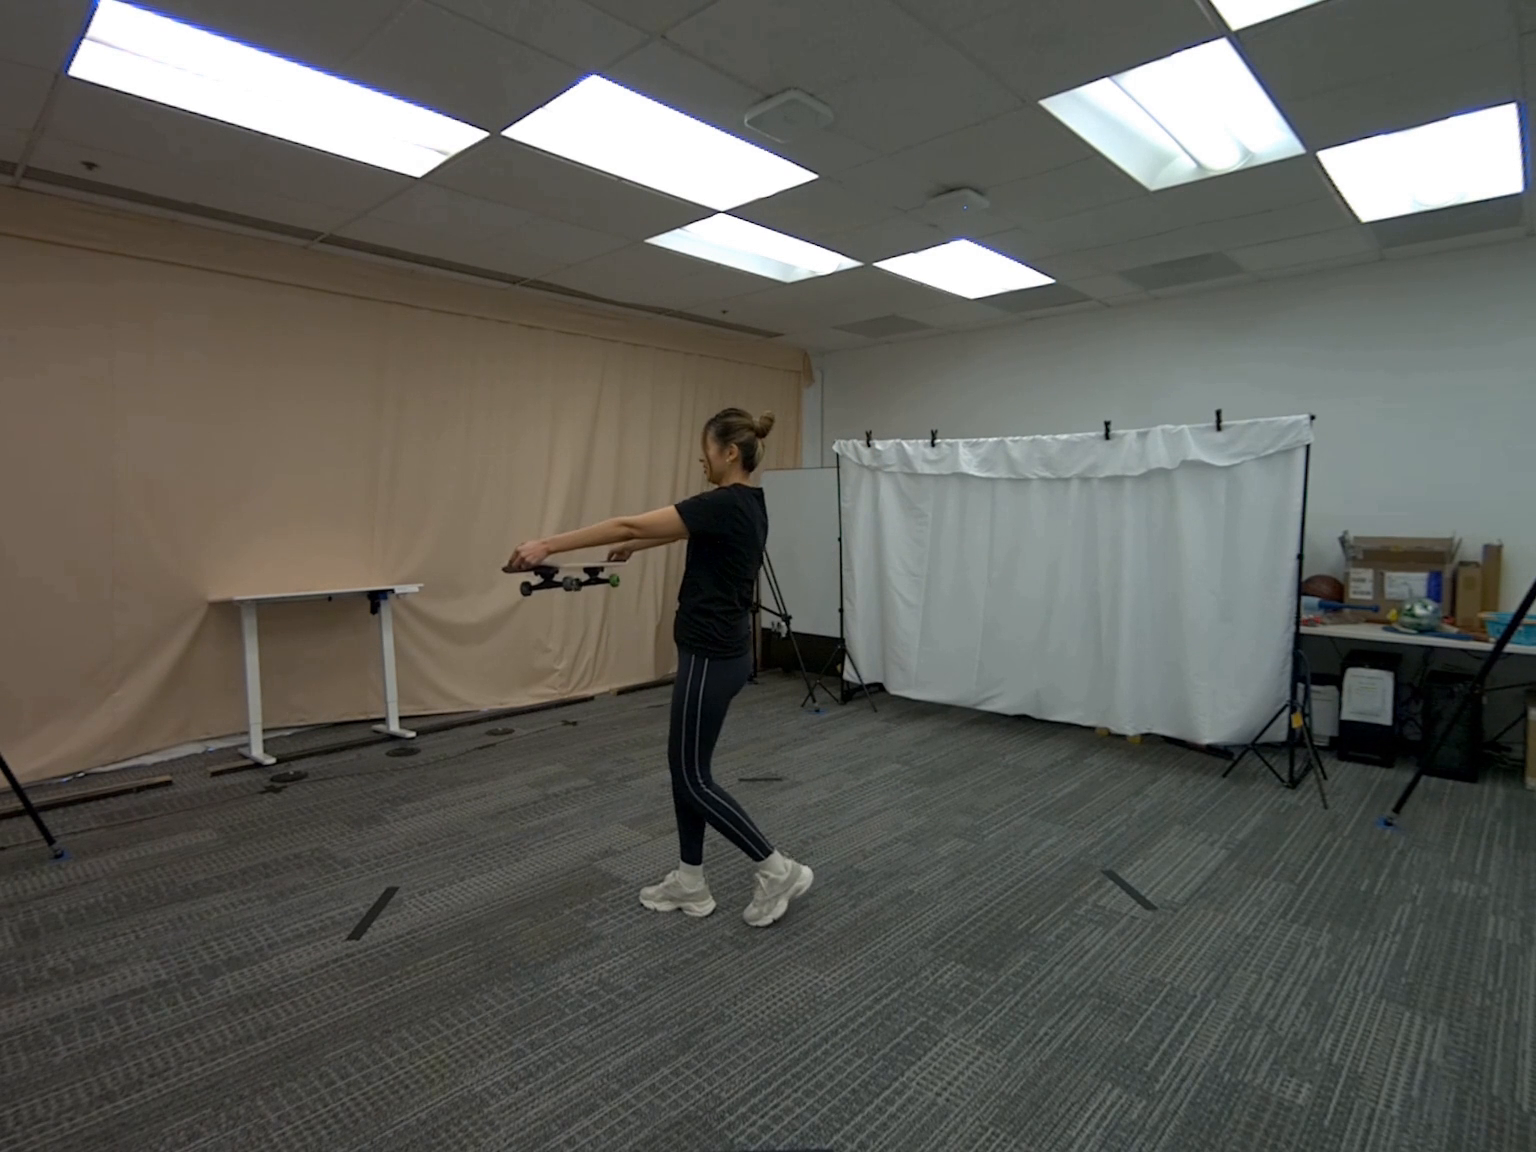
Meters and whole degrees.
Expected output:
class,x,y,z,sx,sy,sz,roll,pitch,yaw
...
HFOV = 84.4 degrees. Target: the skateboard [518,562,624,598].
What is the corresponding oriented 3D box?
class,x,y,z,sx,sy,sz,roll,pitch,yaw
skateboard,-0.677,0.003,2.958,0.196,0.110,0.773,-7,0,14
